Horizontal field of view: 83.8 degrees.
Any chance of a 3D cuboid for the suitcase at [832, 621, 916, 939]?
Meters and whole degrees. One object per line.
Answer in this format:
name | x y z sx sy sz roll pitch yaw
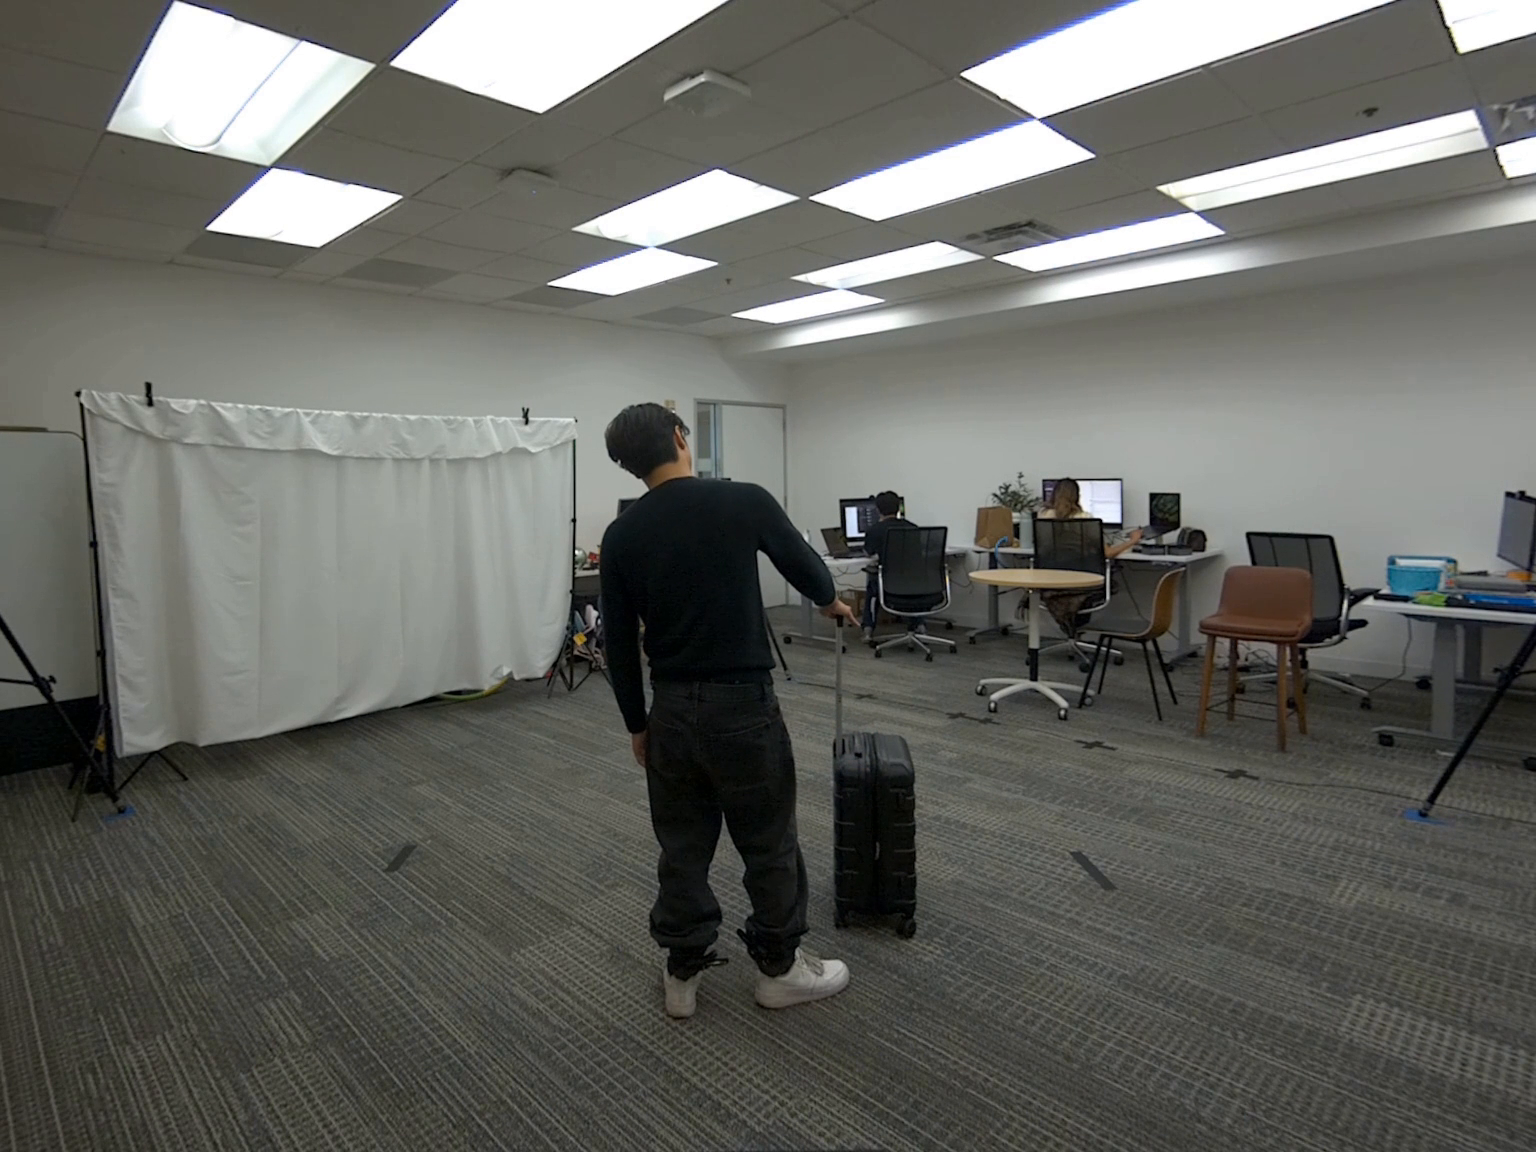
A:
suitcase | 0.344 0.601 2.736 0.258 0.975 0.383 1 4 5
